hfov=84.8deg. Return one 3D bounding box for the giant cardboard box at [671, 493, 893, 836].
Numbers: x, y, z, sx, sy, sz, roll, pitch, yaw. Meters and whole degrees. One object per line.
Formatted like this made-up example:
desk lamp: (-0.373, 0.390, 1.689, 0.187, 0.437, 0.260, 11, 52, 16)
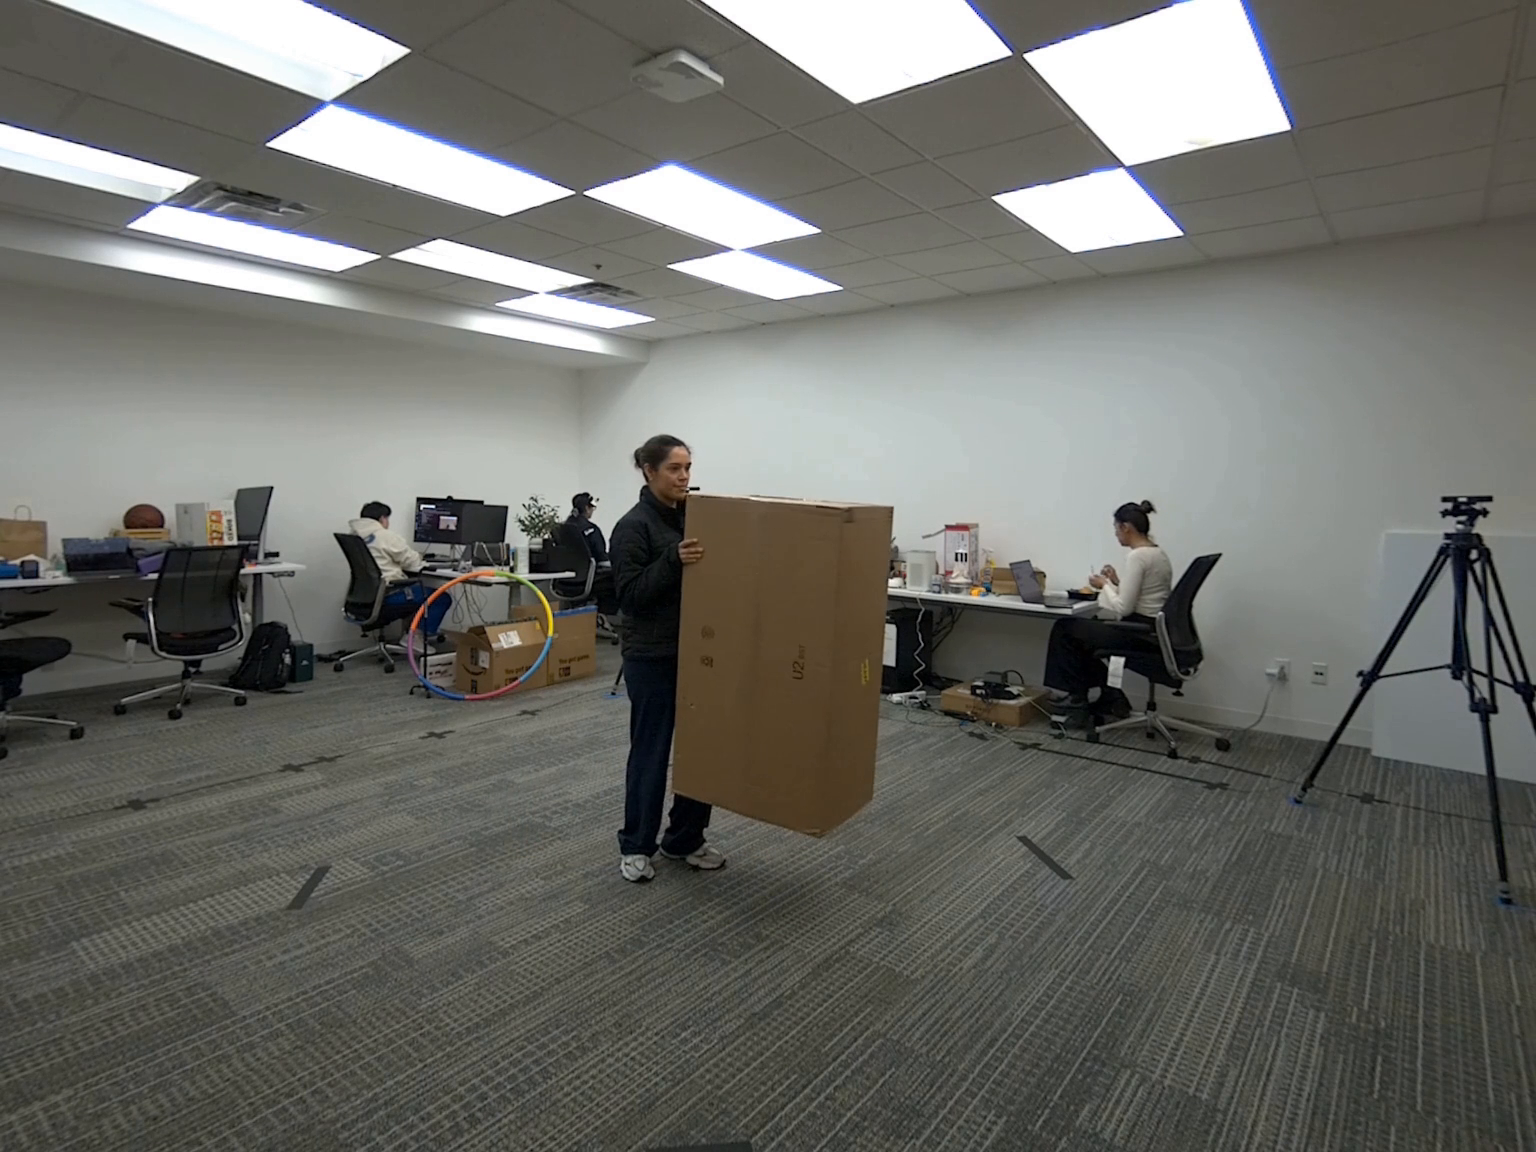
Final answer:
giant cardboard box: (0.055, 0.252, 2.897, 0.596, 1.021, 0.414, 6, 6, 32)
